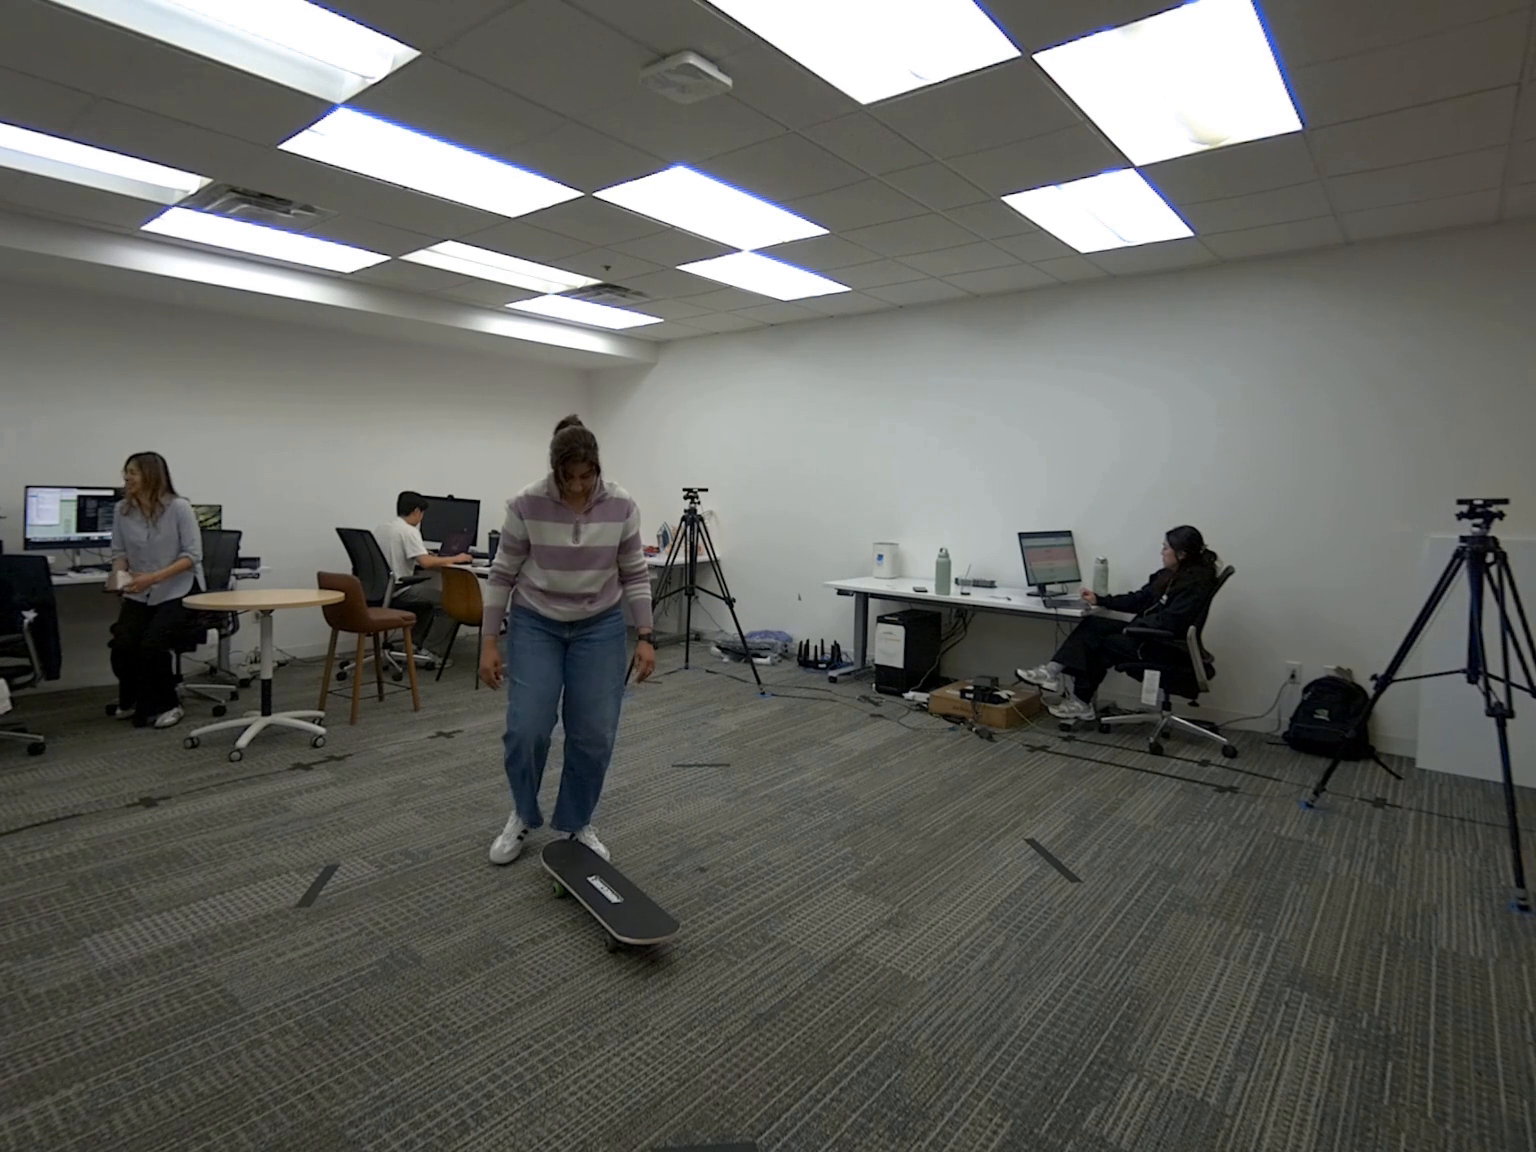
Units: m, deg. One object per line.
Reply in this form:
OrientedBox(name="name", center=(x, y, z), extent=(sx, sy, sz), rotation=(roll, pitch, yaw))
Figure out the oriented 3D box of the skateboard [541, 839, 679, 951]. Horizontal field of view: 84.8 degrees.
OrientedBox(name="skateboard", center=(-0.540, 1.039, 2.750), extent=(0.188, 0.110, 0.811), rotation=(-3, 6, -36))
